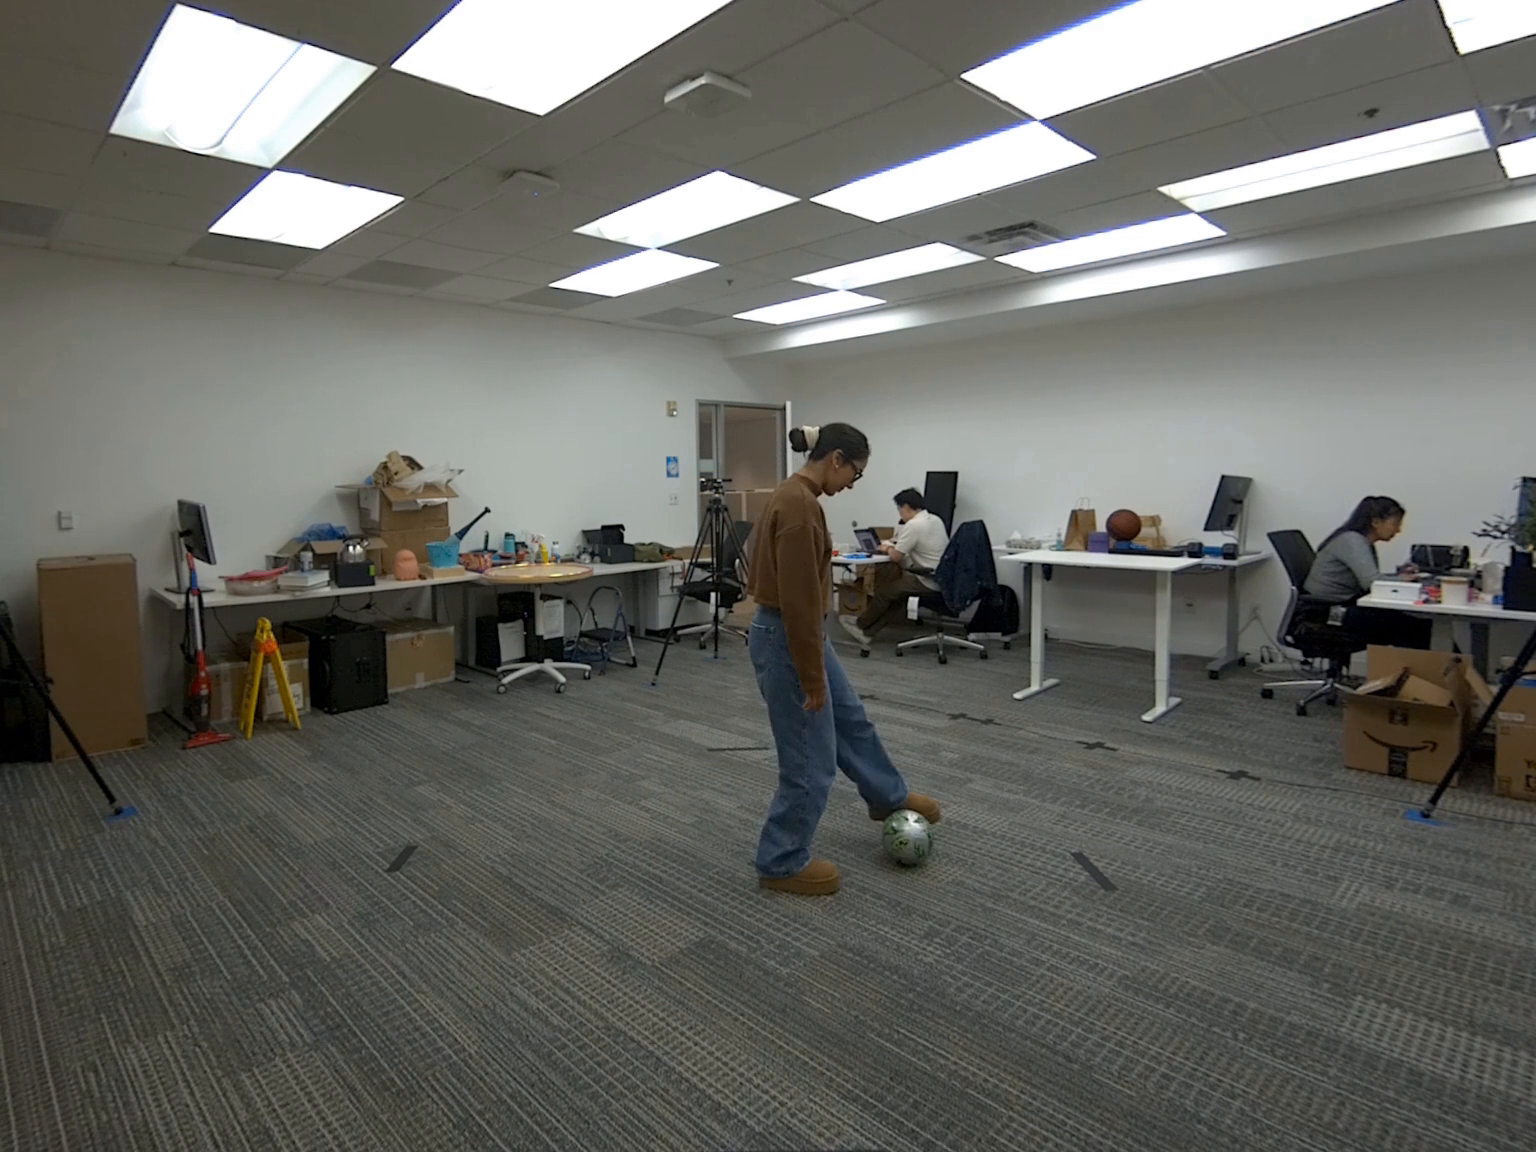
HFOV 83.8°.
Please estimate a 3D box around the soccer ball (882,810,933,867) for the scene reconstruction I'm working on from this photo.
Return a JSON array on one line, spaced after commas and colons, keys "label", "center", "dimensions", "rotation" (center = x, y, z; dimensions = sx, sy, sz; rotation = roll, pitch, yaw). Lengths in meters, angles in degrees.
[{"label": "soccer ball", "center": [0.504, 0.948, 3.078], "dimensions": [0.187, 0.187, 0.188], "rotation": [-1, 5, -2]}]
